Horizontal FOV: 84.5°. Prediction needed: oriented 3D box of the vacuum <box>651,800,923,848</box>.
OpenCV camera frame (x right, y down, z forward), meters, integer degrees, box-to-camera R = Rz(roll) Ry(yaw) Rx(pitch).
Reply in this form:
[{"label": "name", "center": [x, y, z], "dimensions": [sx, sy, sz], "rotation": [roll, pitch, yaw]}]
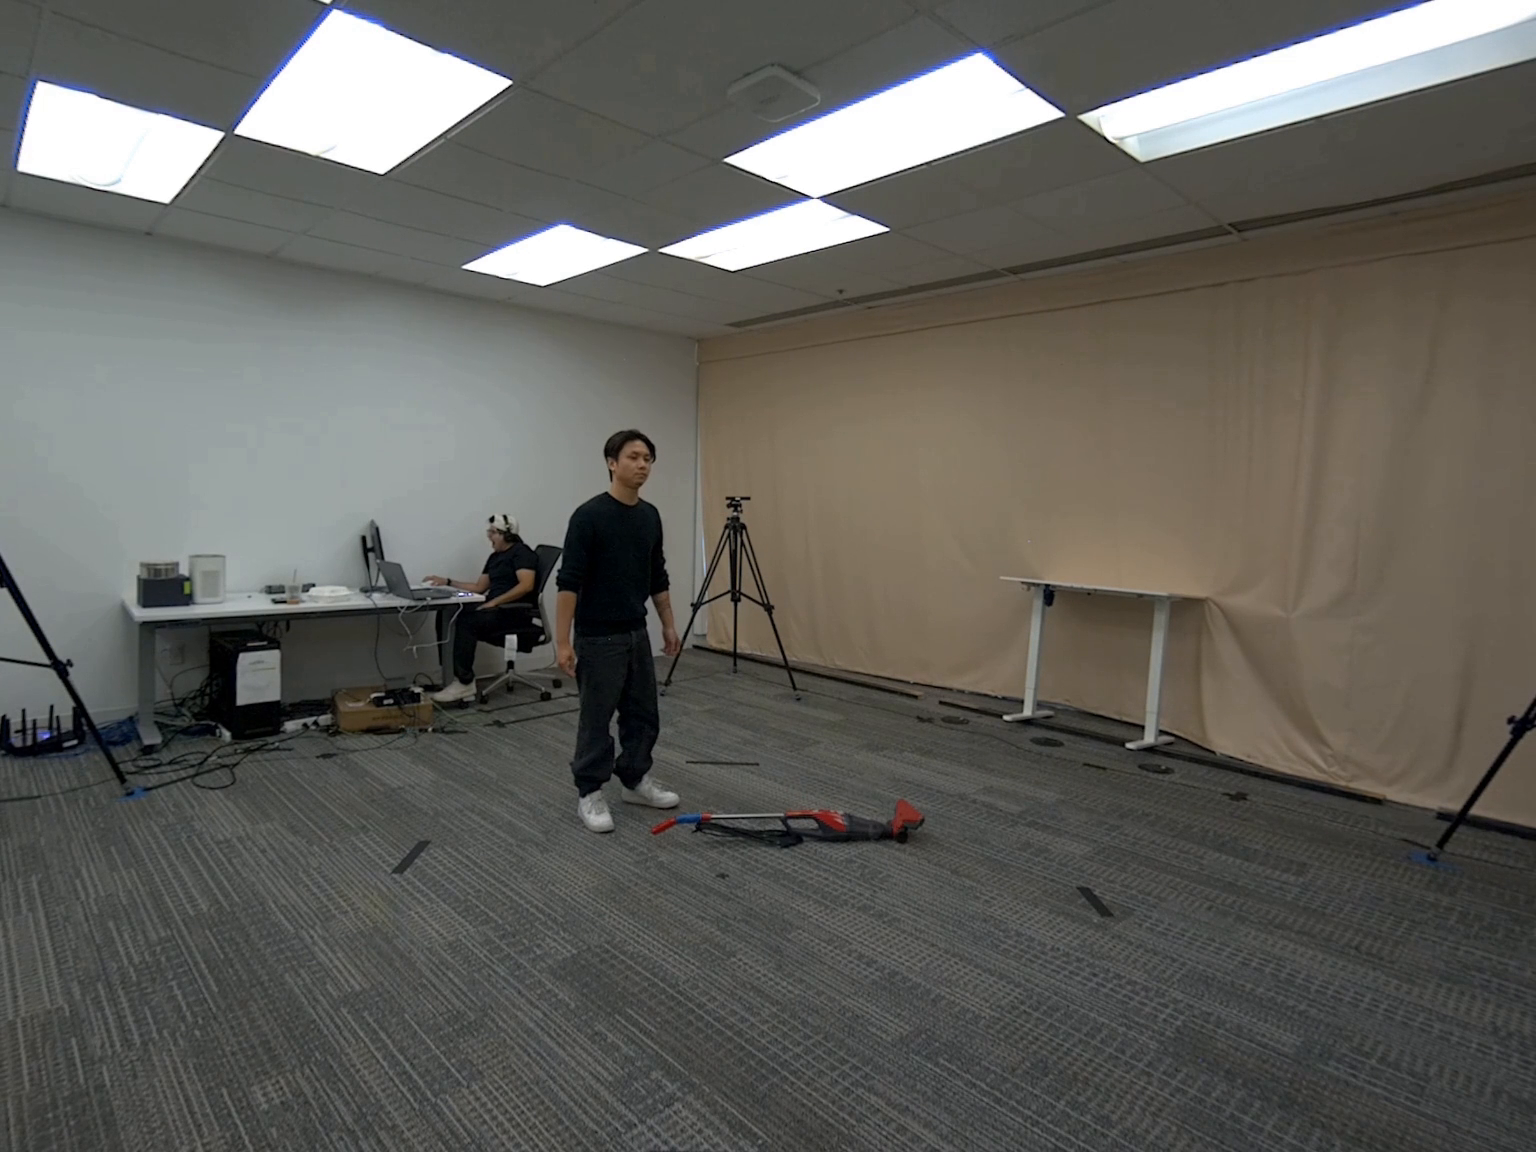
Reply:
[{"label": "vacuum", "center": [0.046, 1.019, 3.421], "dimensions": [1.041, 0.144, 0.254], "rotation": [0, 0, -10]}]
